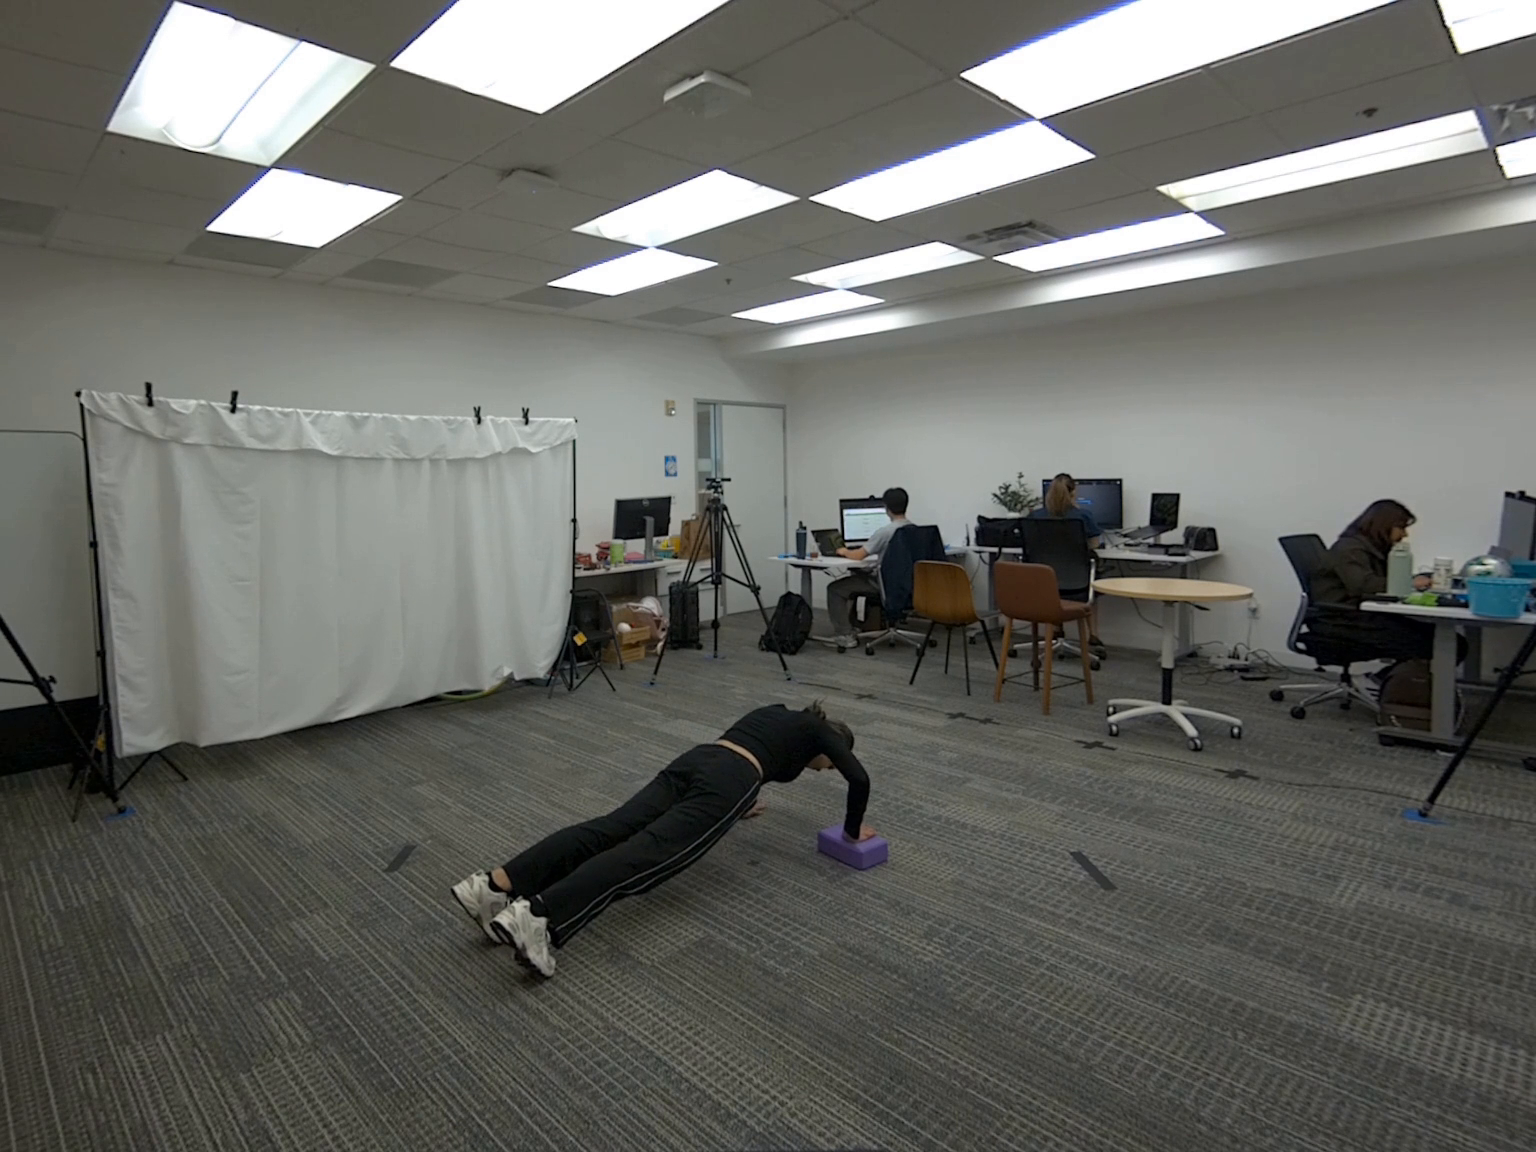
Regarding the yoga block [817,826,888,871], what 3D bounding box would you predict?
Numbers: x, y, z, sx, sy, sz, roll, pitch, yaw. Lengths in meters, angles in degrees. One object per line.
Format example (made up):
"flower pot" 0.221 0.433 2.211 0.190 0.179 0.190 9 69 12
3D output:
"yoga block" 0.311 0.993 3.151 0.145 0.076 0.236 -5 8 -38
